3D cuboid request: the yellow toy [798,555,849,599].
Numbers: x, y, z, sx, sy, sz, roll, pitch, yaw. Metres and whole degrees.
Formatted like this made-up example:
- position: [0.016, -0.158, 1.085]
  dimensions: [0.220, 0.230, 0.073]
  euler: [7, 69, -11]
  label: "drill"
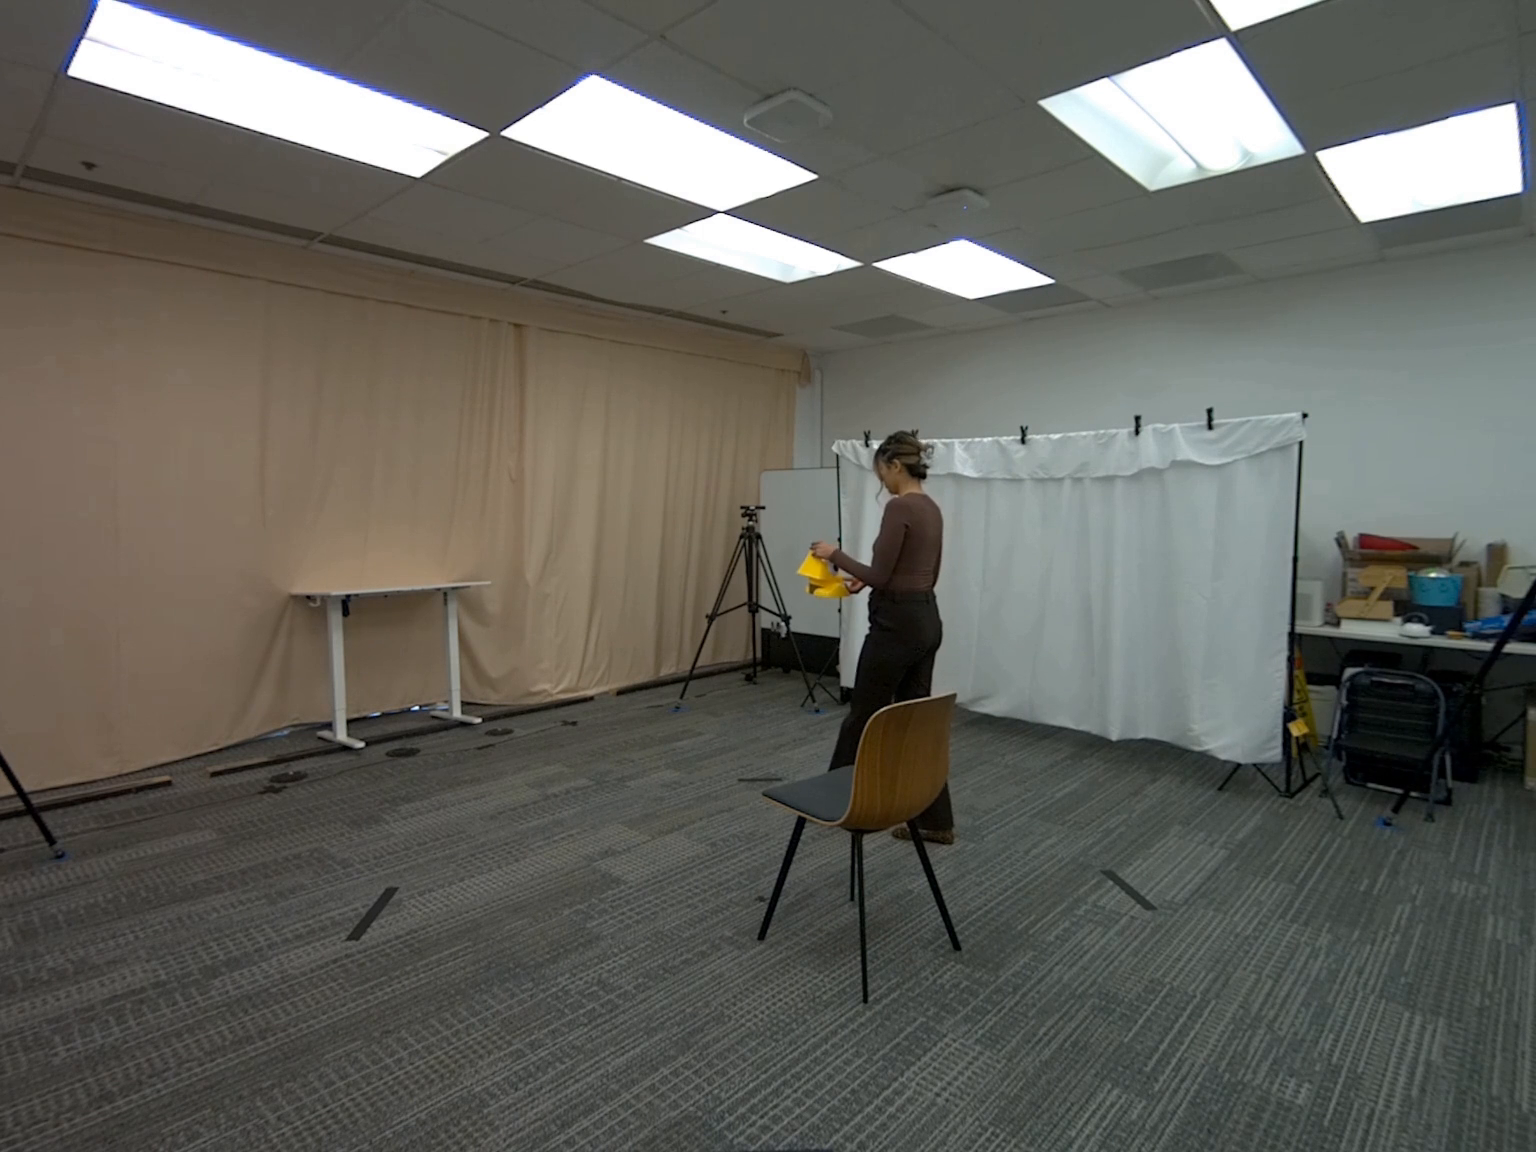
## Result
- position: [0.259, -0.034, 3.691]
  dimensions: [0.188, 0.230, 0.210]
  euler: [0, 6, -25]
  label: "yellow toy"
